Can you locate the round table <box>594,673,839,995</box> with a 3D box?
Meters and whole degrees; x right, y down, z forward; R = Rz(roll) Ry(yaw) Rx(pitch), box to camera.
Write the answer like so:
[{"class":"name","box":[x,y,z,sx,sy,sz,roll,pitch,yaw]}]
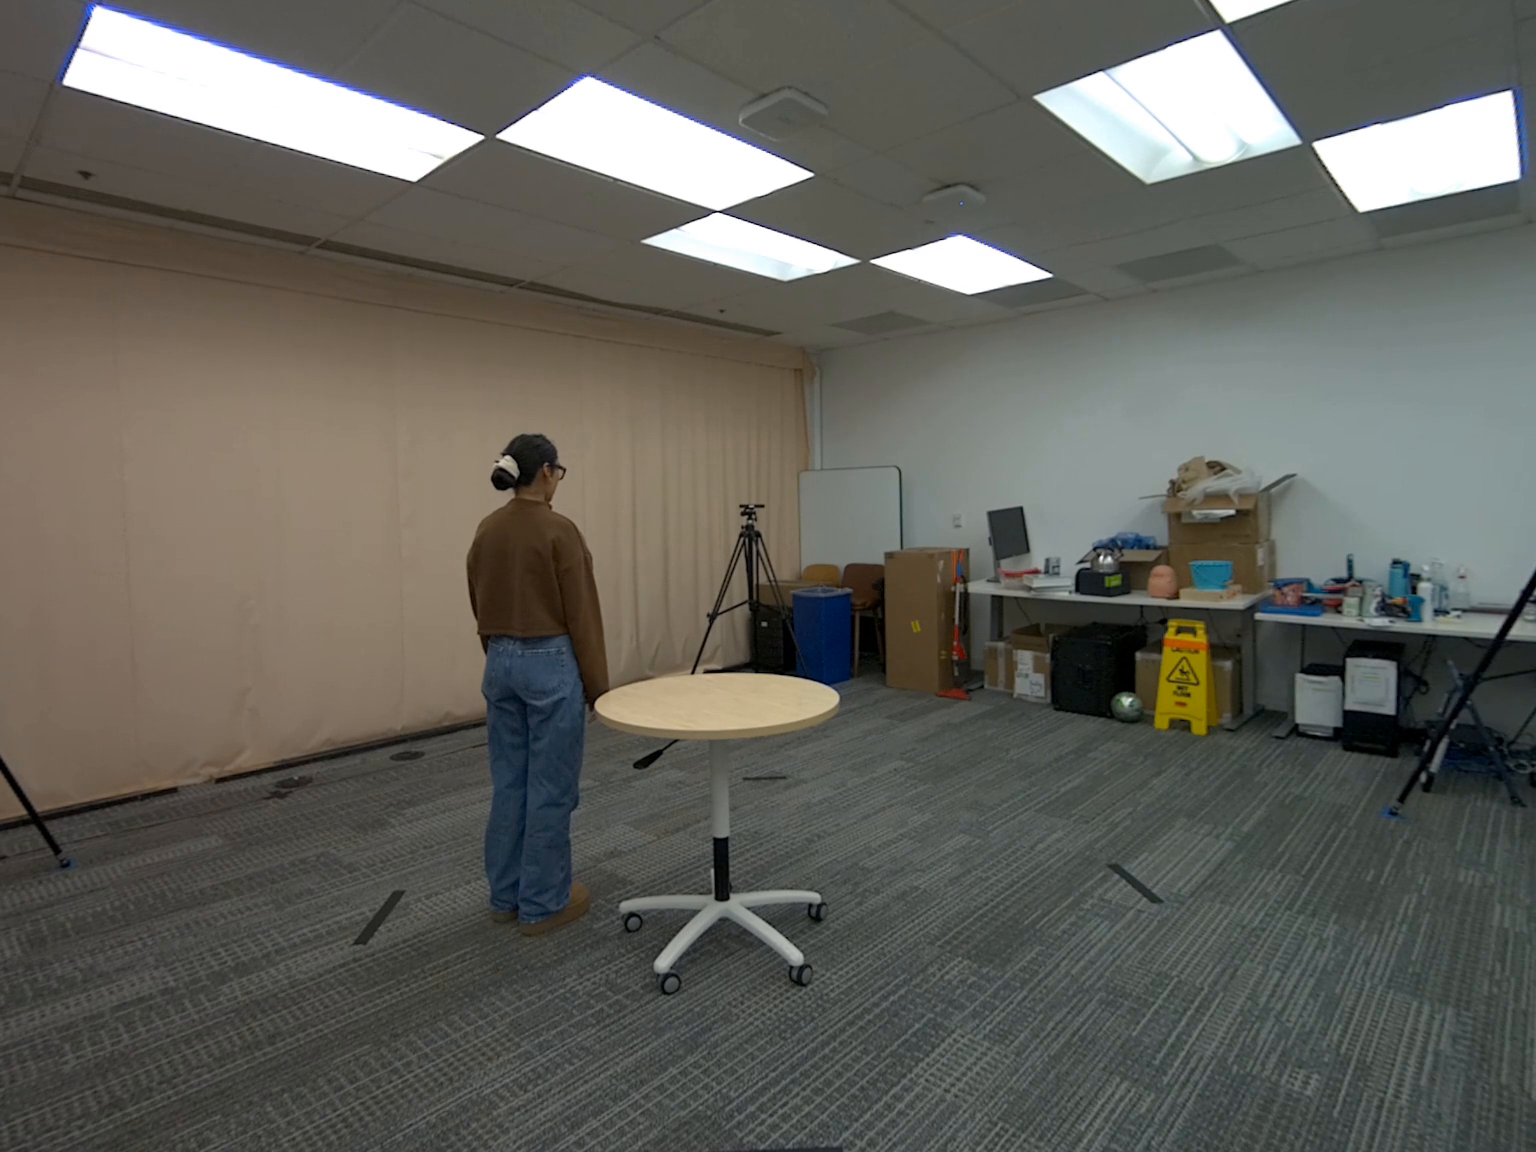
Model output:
[{"class":"round table","box":[-0.147,0.782,2.662,0.763,0.792,0.767,-2,4,-2]}]
